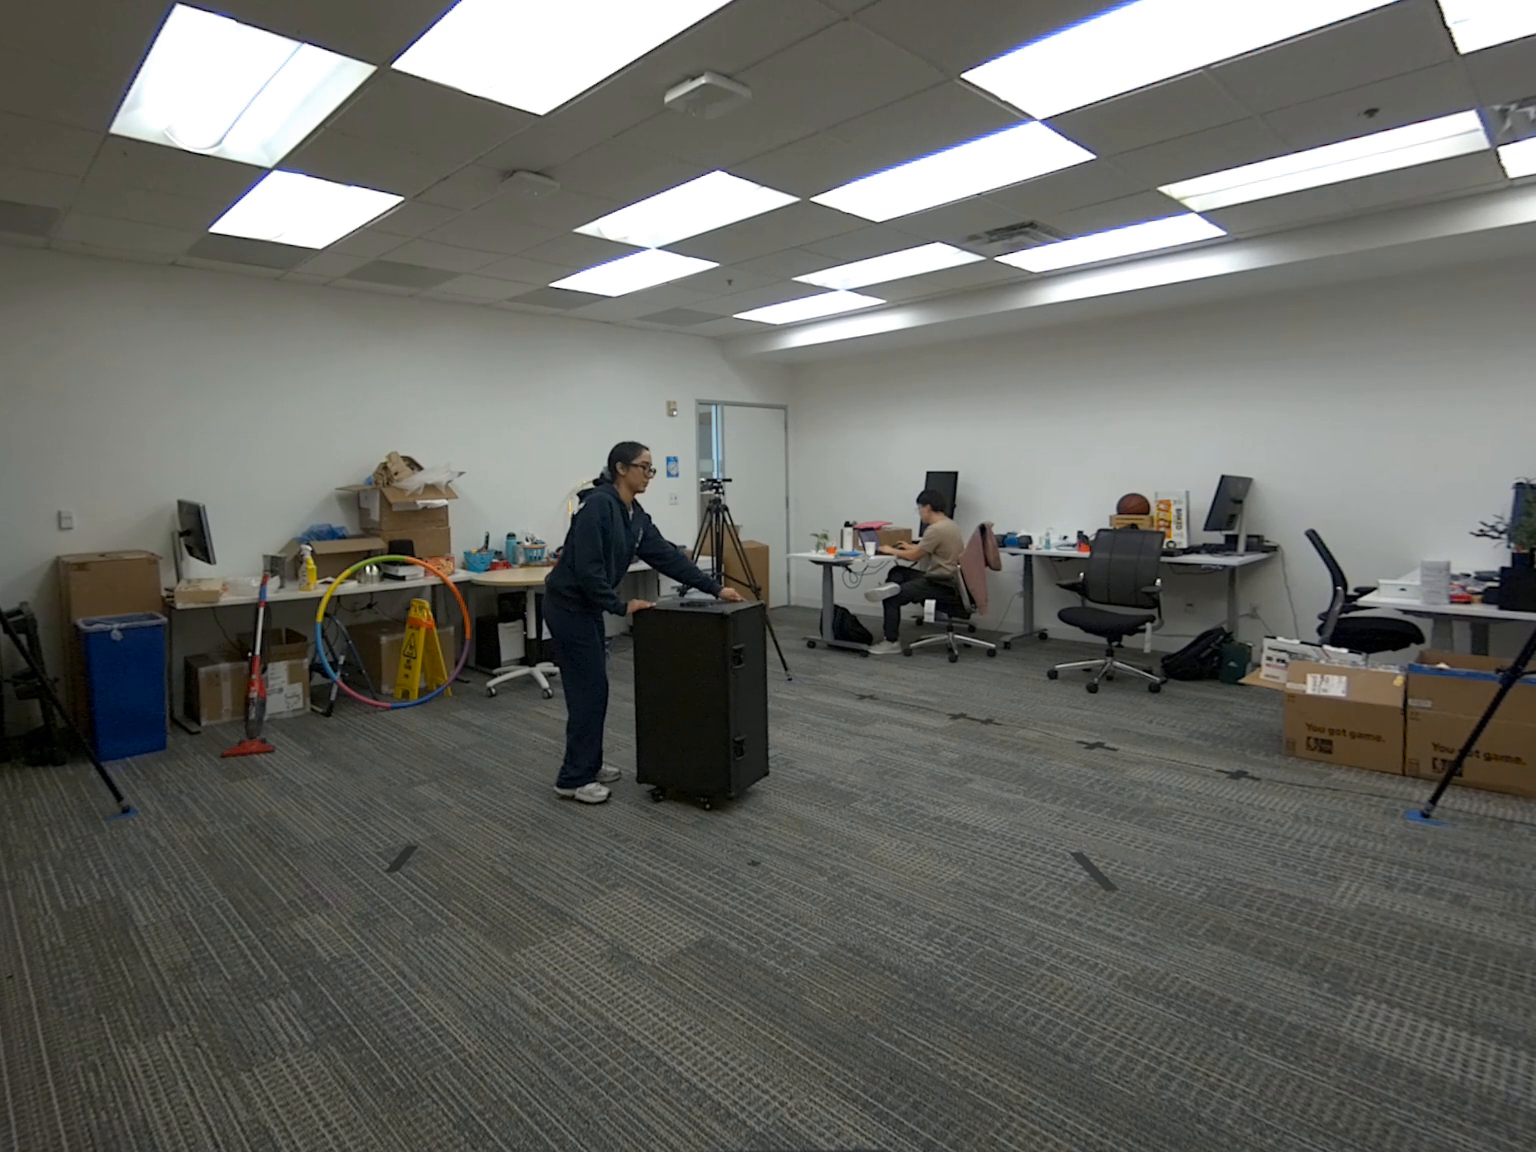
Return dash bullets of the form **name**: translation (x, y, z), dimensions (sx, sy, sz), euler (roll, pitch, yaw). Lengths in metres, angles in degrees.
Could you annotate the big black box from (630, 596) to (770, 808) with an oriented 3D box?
- **big black box**: translation (-0.291, 0.548, 3.784), dimensions (0.534, 0.859, 0.387), euler (0, 3, 29)
